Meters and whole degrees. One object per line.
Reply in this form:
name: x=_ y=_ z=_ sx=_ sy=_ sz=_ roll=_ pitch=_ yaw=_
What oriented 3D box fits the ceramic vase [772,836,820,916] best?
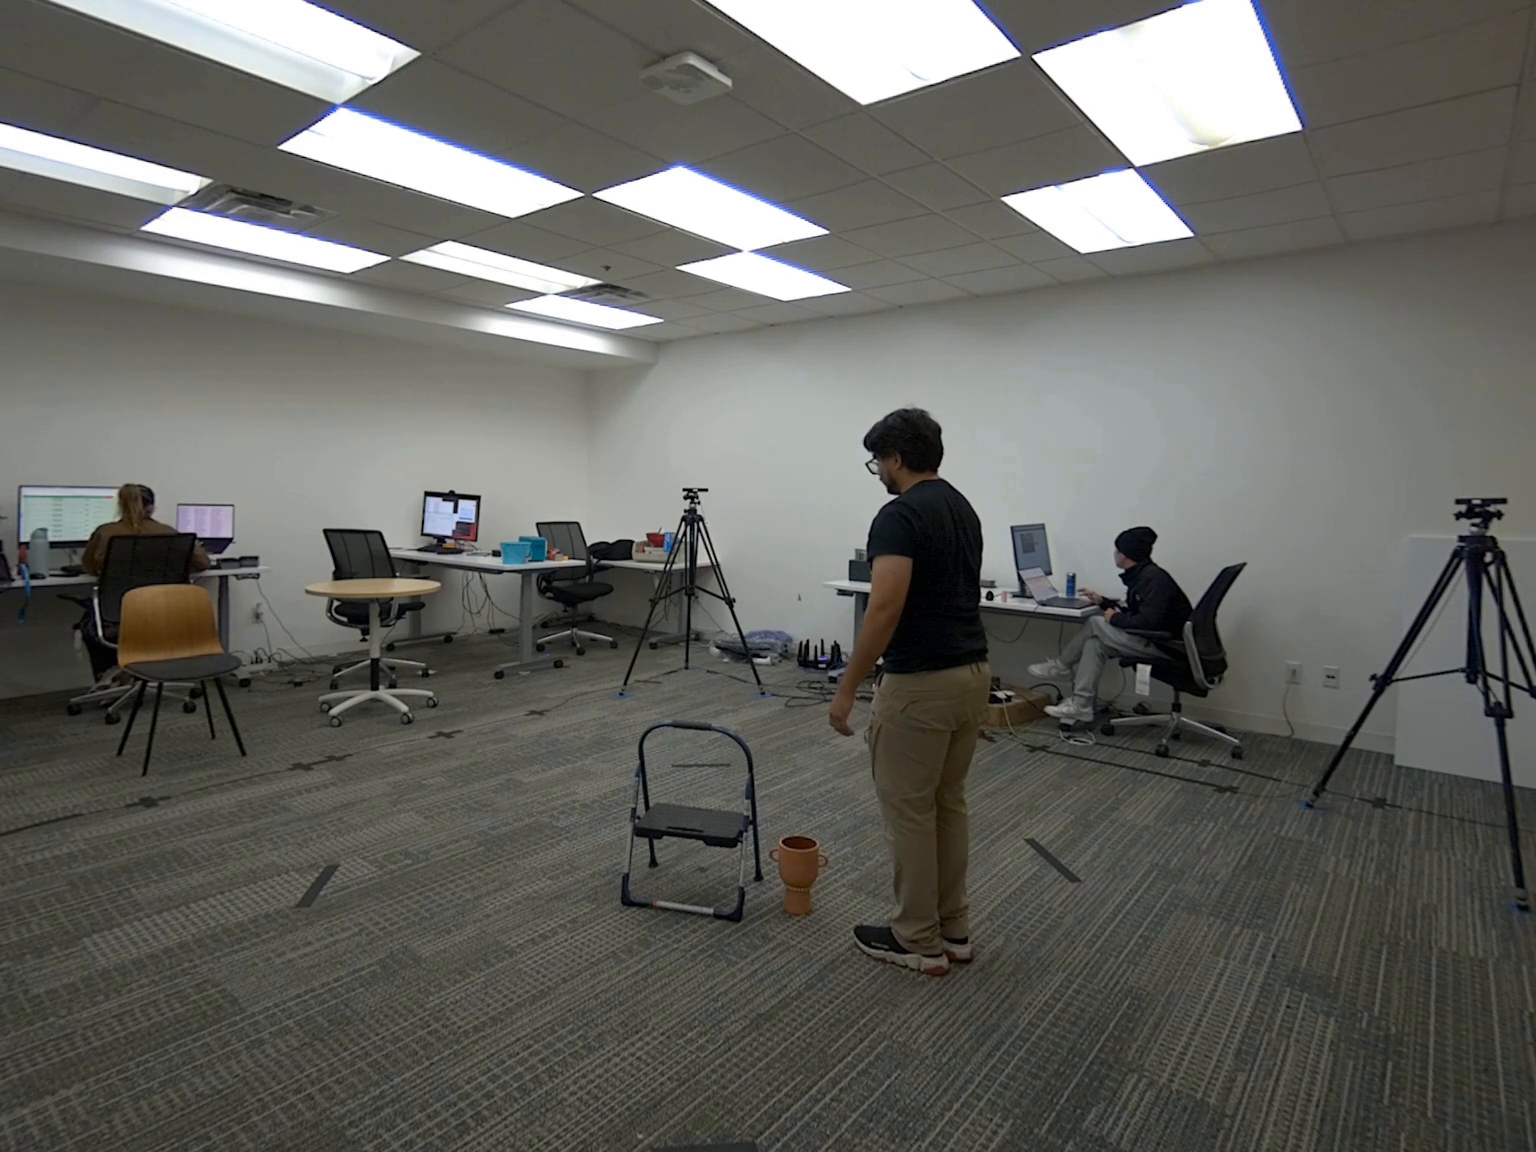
ceramic vase: x=0.095 y=0.992 z=2.827 sx=0.131 sy=0.219 sz=0.164 roll=-1 pitch=4 yaw=-37
